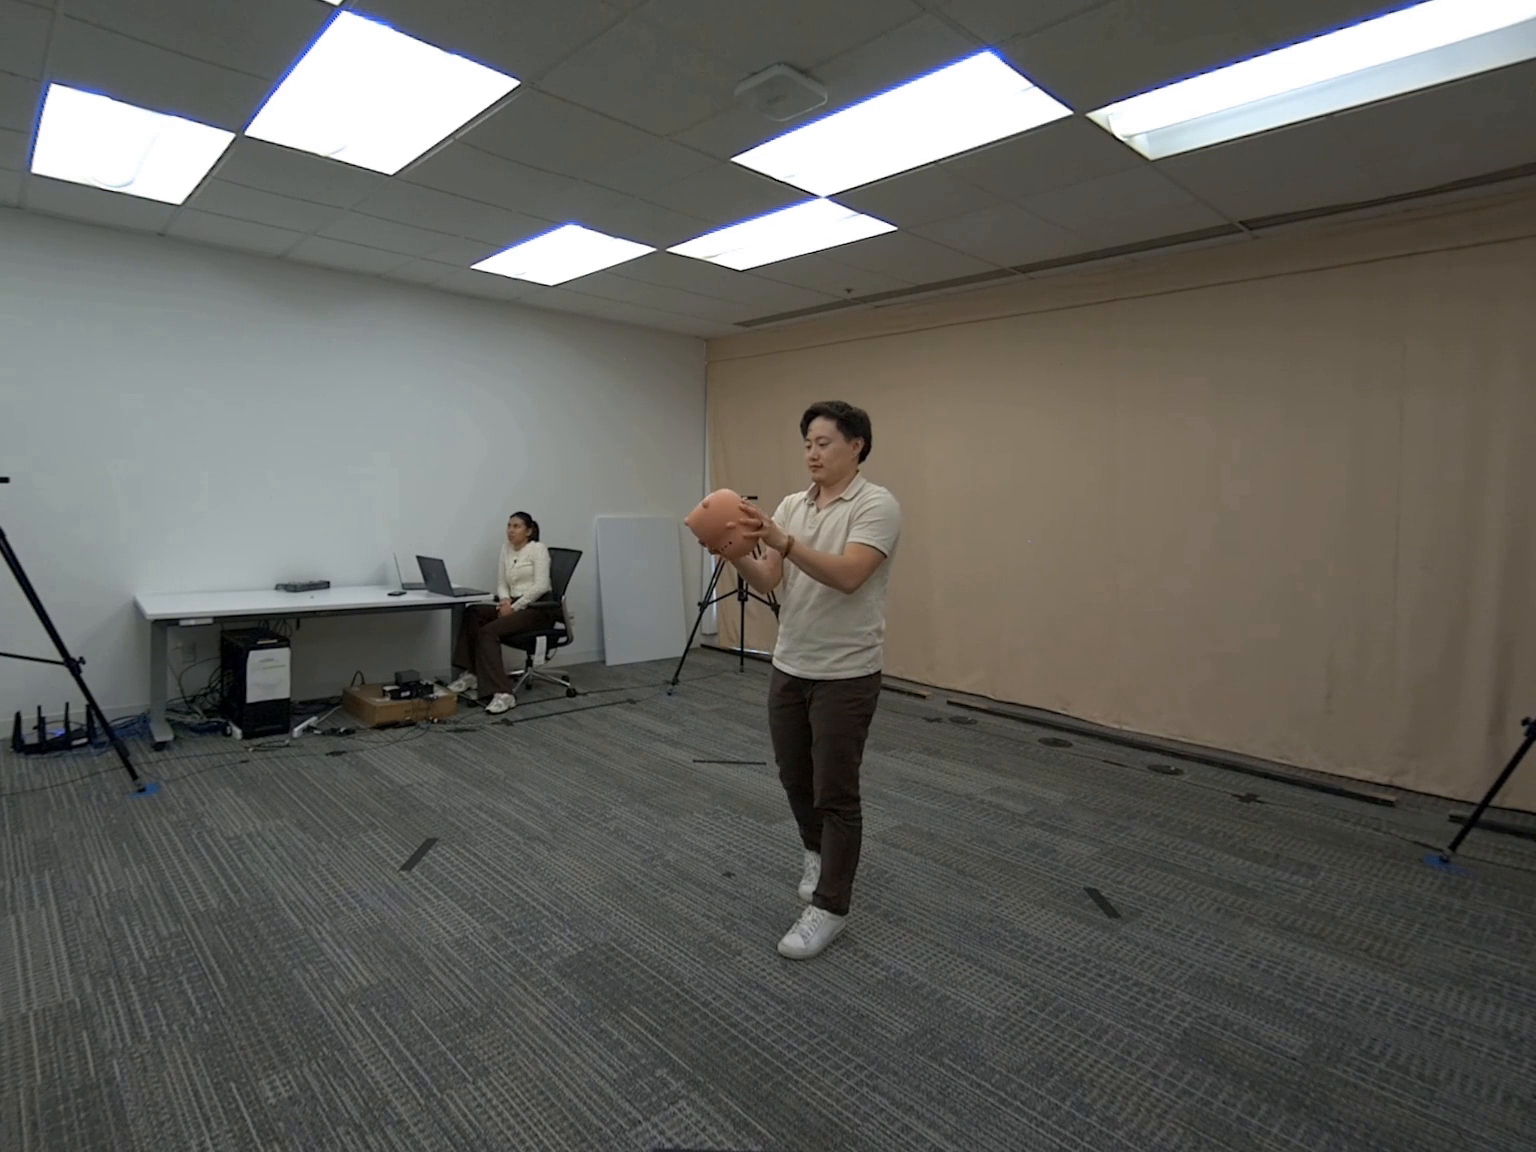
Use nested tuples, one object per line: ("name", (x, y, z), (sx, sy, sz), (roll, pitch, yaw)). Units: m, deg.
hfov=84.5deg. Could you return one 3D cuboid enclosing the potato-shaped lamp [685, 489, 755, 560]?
("potato-shaped lamp", (-0.121, -0.135, 2.389), (0.165, 0.198, 0.171), (-36, 4, 43))
